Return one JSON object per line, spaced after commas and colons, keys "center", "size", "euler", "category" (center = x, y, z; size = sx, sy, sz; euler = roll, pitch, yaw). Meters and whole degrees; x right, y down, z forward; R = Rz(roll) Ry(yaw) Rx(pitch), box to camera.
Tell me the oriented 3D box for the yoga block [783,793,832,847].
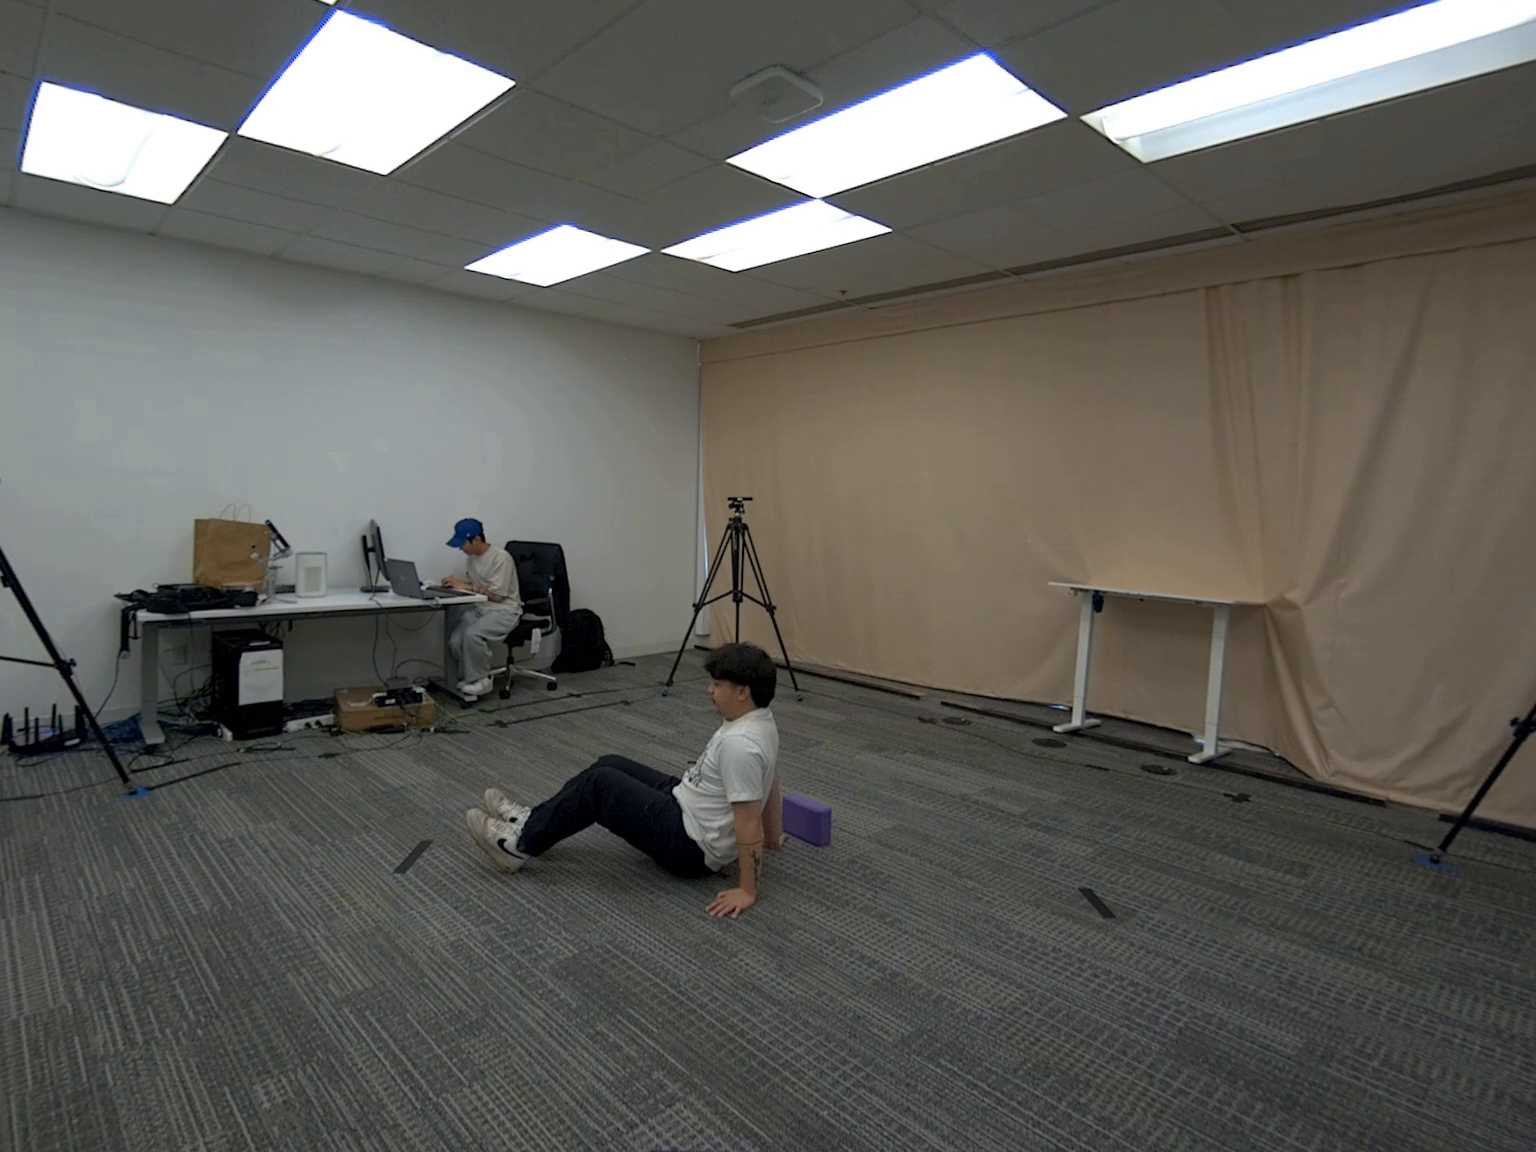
{"center": [0.147, 1.003, 3.489], "size": [0.075, 0.149, 0.235], "euler": [1, 2, -35], "category": "yoga block"}
